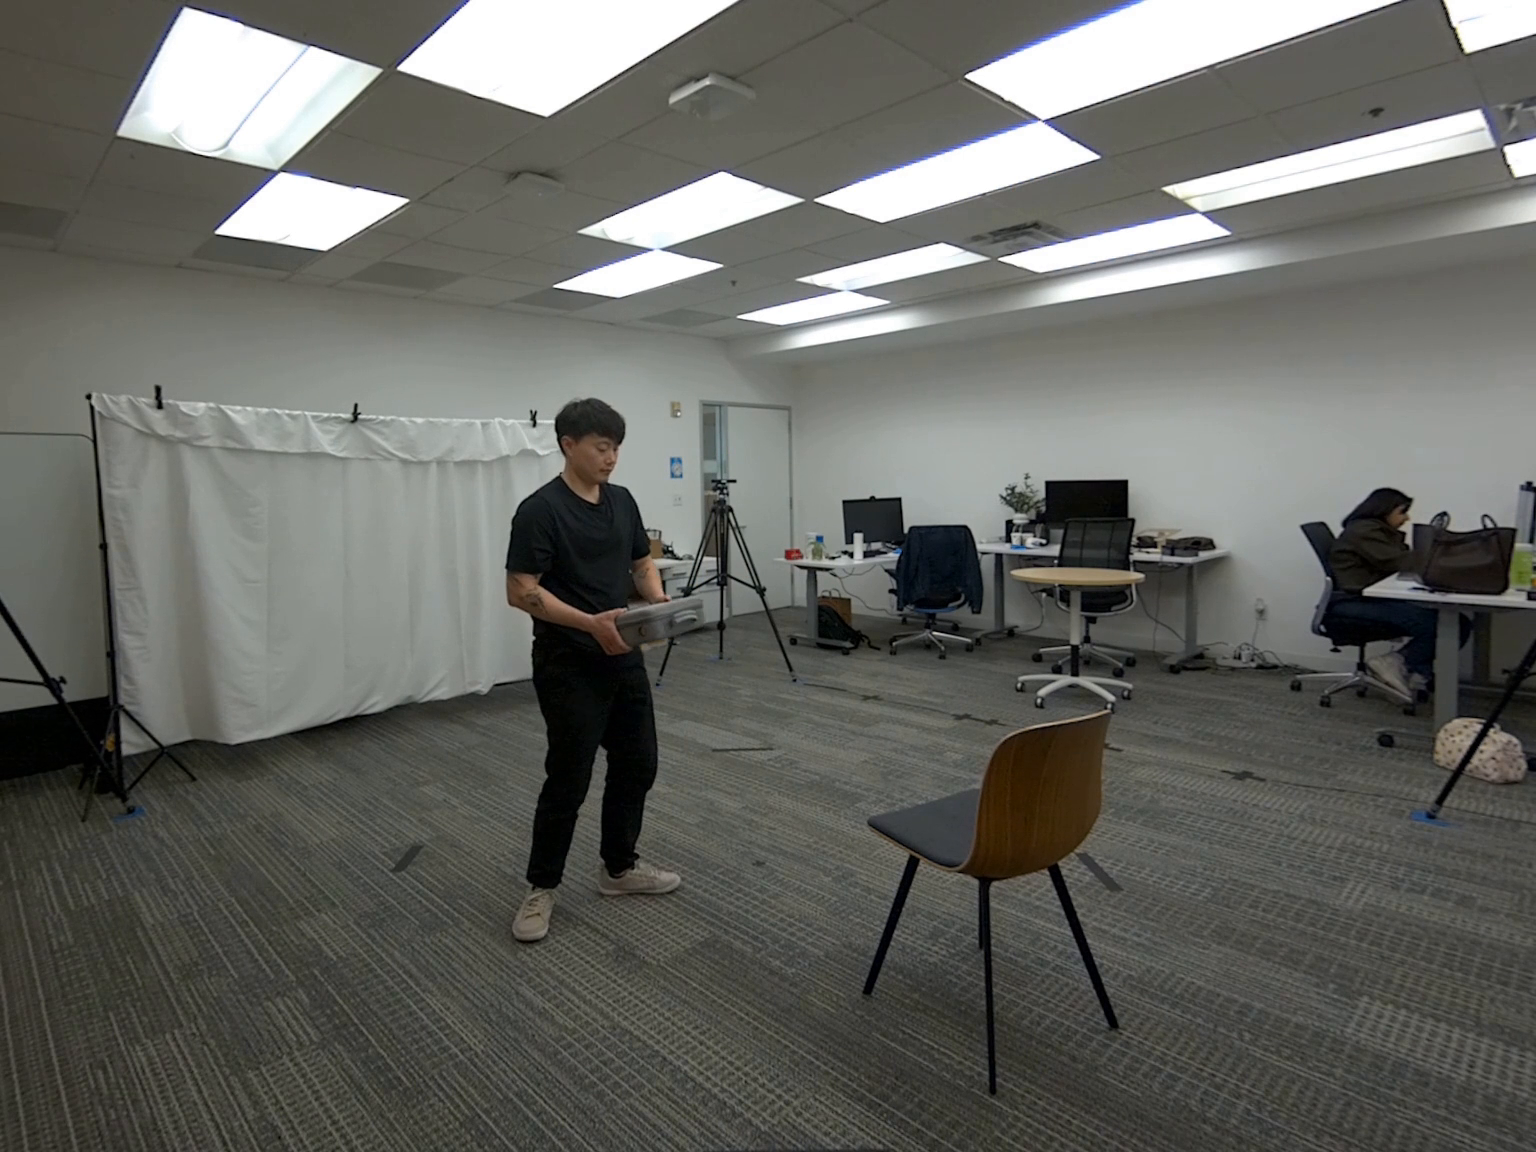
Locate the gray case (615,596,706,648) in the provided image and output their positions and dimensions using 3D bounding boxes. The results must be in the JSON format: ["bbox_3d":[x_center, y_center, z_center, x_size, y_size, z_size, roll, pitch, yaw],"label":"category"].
[{"bbox_3d":[-0.347,0.133,2.621,0.267,0.104,0.250,-10,-1,44],"label":"gray case"}]
